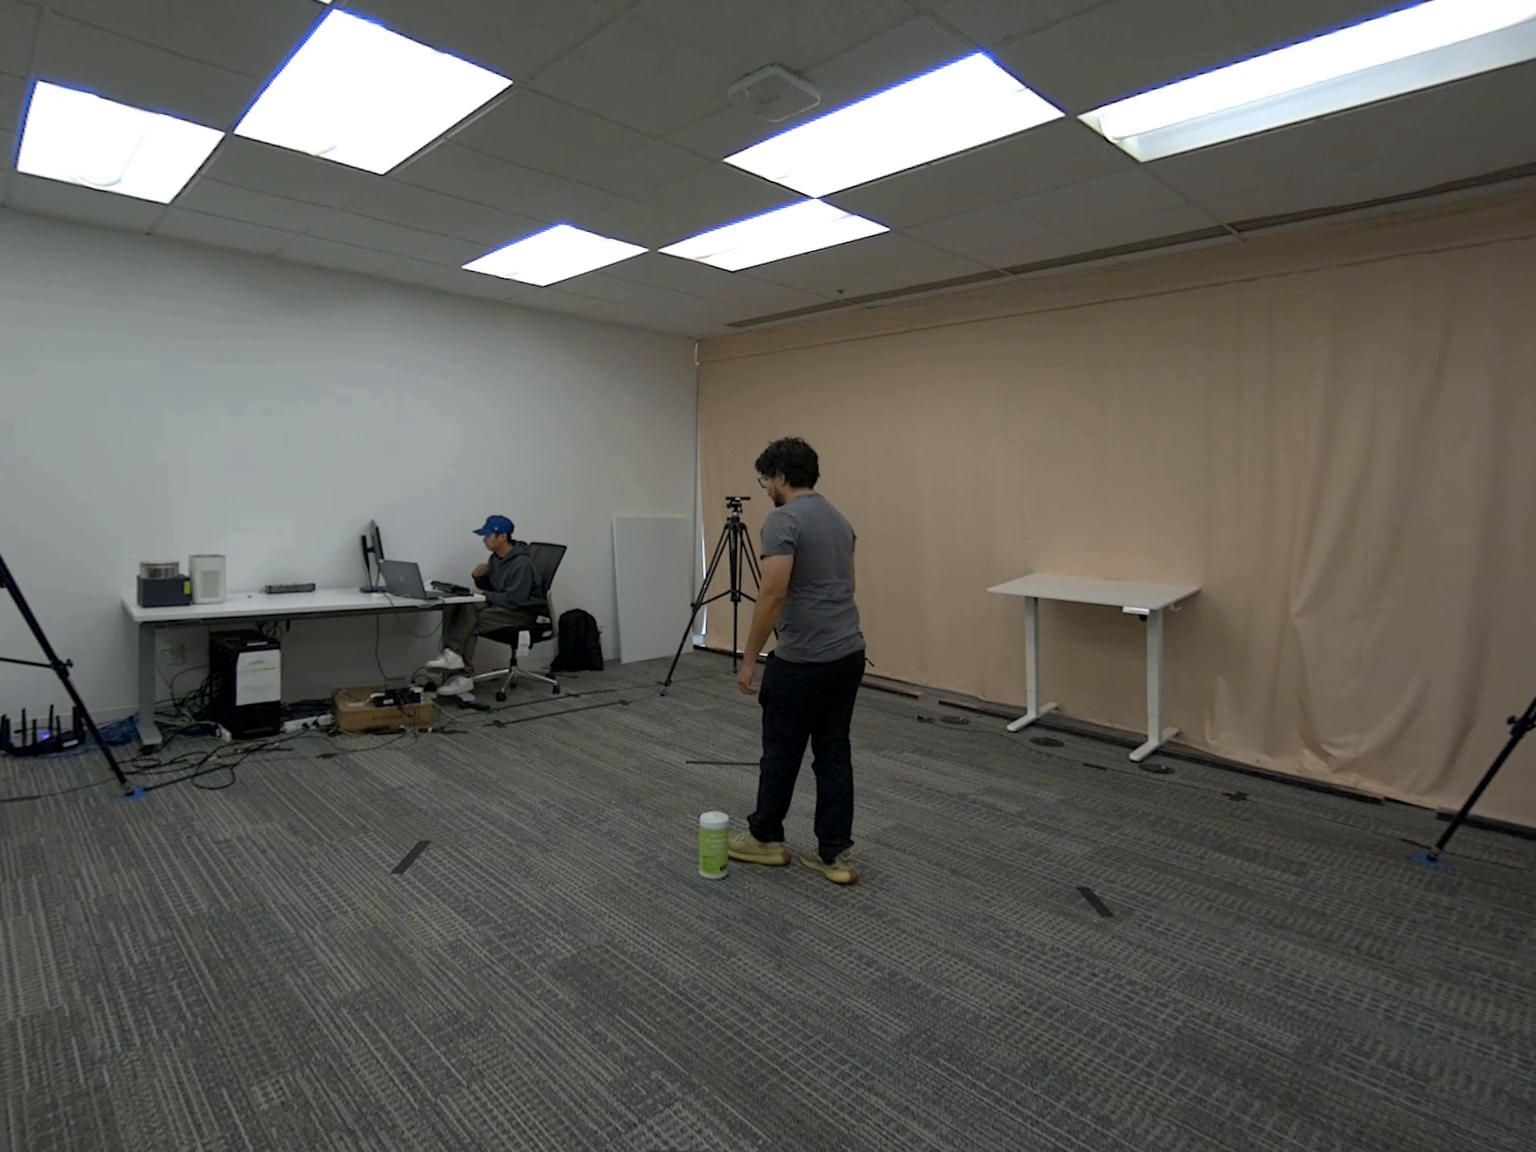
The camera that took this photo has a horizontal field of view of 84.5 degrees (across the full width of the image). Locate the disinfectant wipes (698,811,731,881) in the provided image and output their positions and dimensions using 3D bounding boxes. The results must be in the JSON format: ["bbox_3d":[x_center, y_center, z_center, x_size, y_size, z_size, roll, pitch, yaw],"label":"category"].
[{"bbox_3d":[-0.213,1.001,3.112,0.118,0.217,0.118,2,3,-1],"label":"disinfectant wipes"}]
